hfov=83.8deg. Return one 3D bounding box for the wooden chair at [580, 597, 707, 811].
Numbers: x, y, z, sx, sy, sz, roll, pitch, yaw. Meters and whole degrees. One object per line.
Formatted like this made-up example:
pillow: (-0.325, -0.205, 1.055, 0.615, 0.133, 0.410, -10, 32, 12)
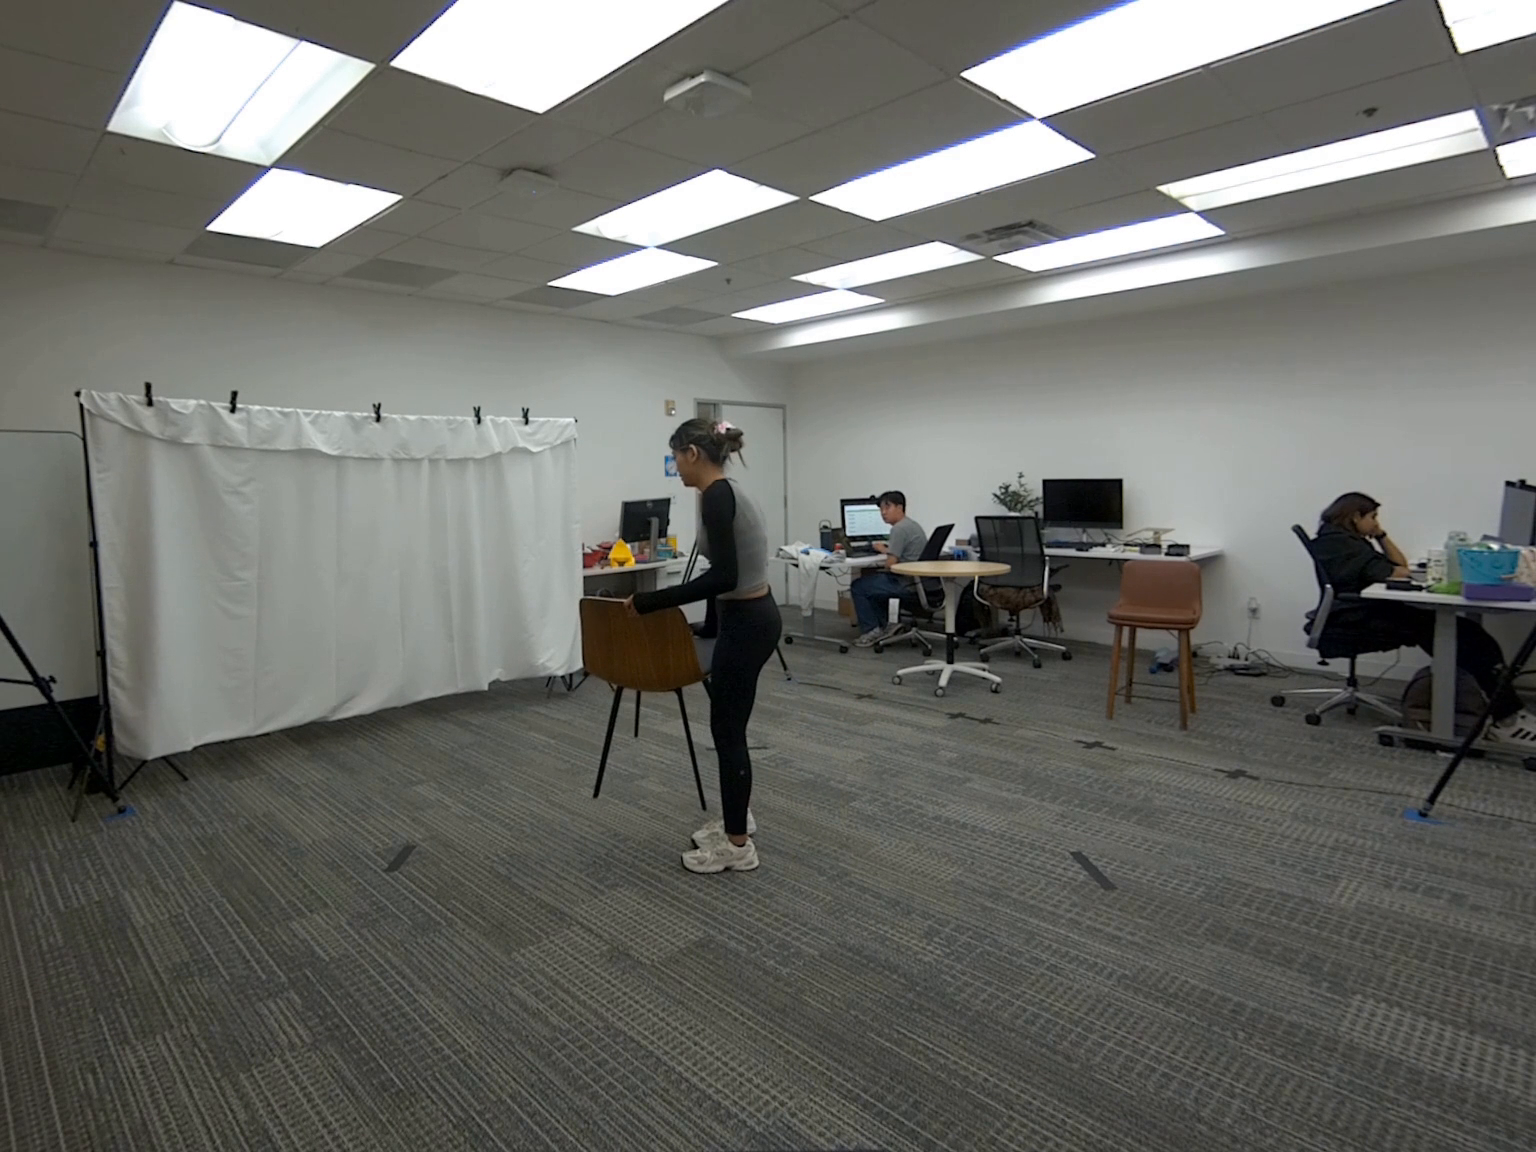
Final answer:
wooden chair: (-0.414, 0.376, 3.269, 0.486, 0.860, 0.525, 2, 23, 15)
